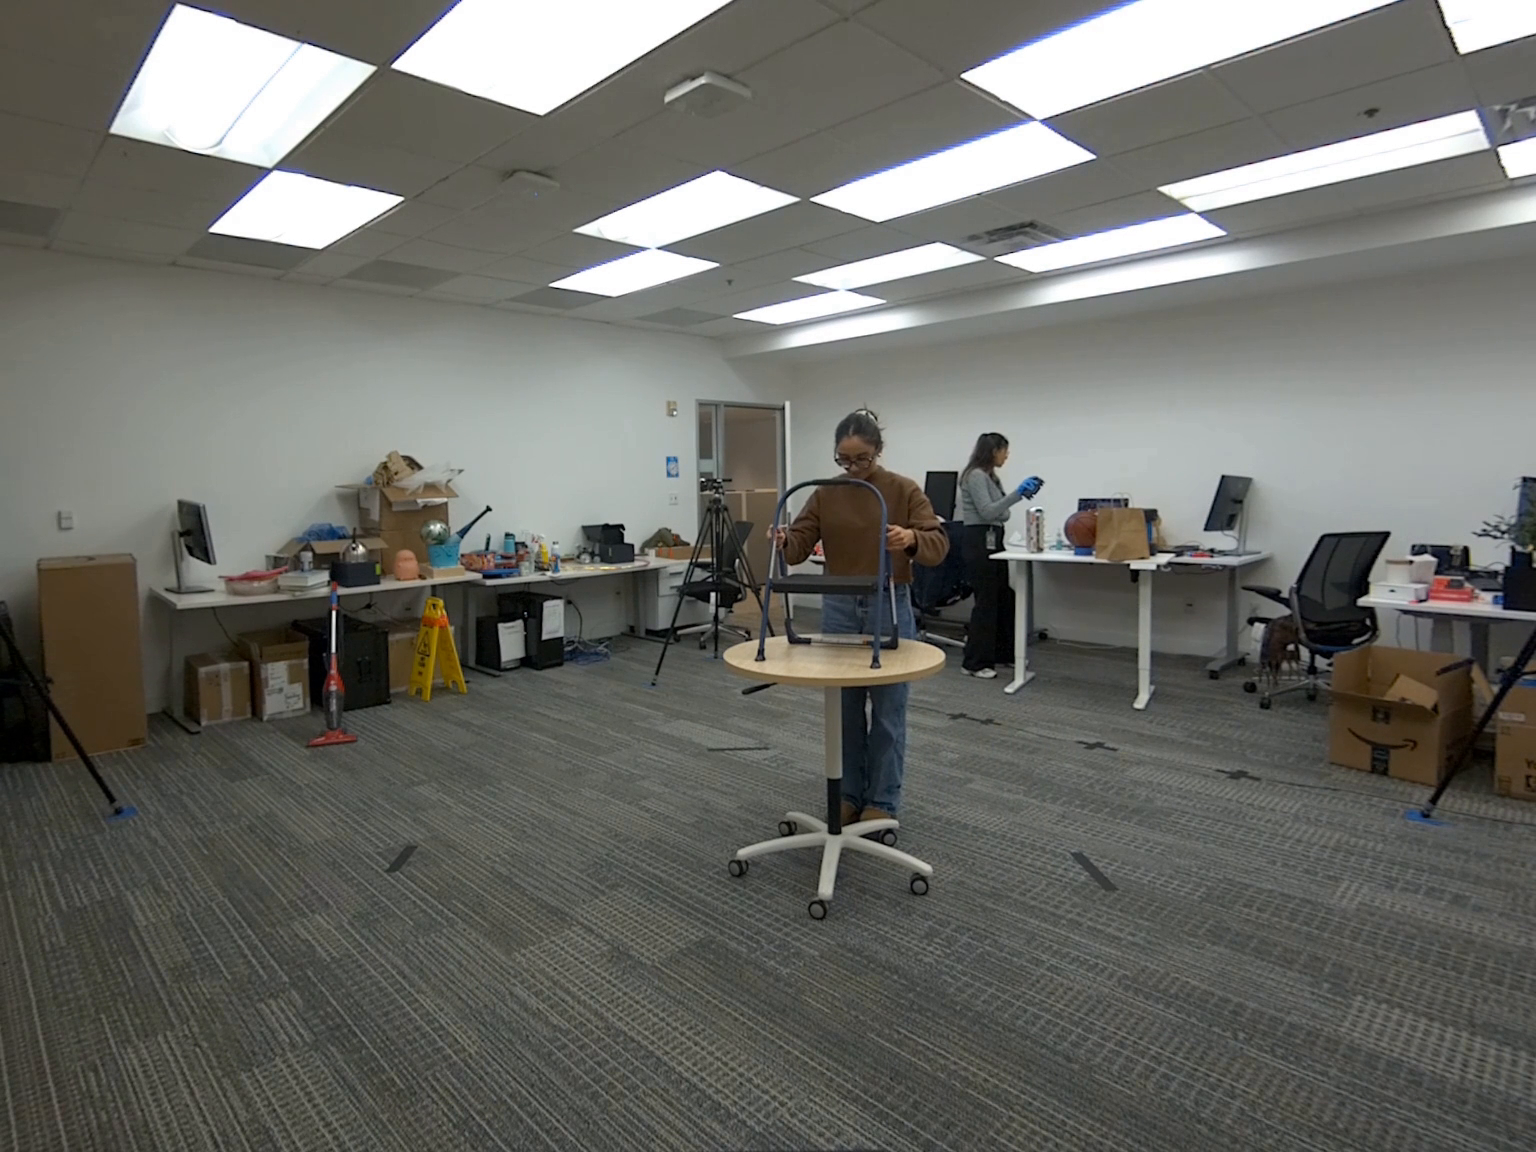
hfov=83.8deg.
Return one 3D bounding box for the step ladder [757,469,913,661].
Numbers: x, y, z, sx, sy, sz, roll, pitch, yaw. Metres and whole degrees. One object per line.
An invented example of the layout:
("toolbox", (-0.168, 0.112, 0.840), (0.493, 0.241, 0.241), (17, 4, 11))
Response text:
("step ladder", (0.210, -0.025, 2.943), (0.440, 0.604, 0.343), (0, 5, 22))
